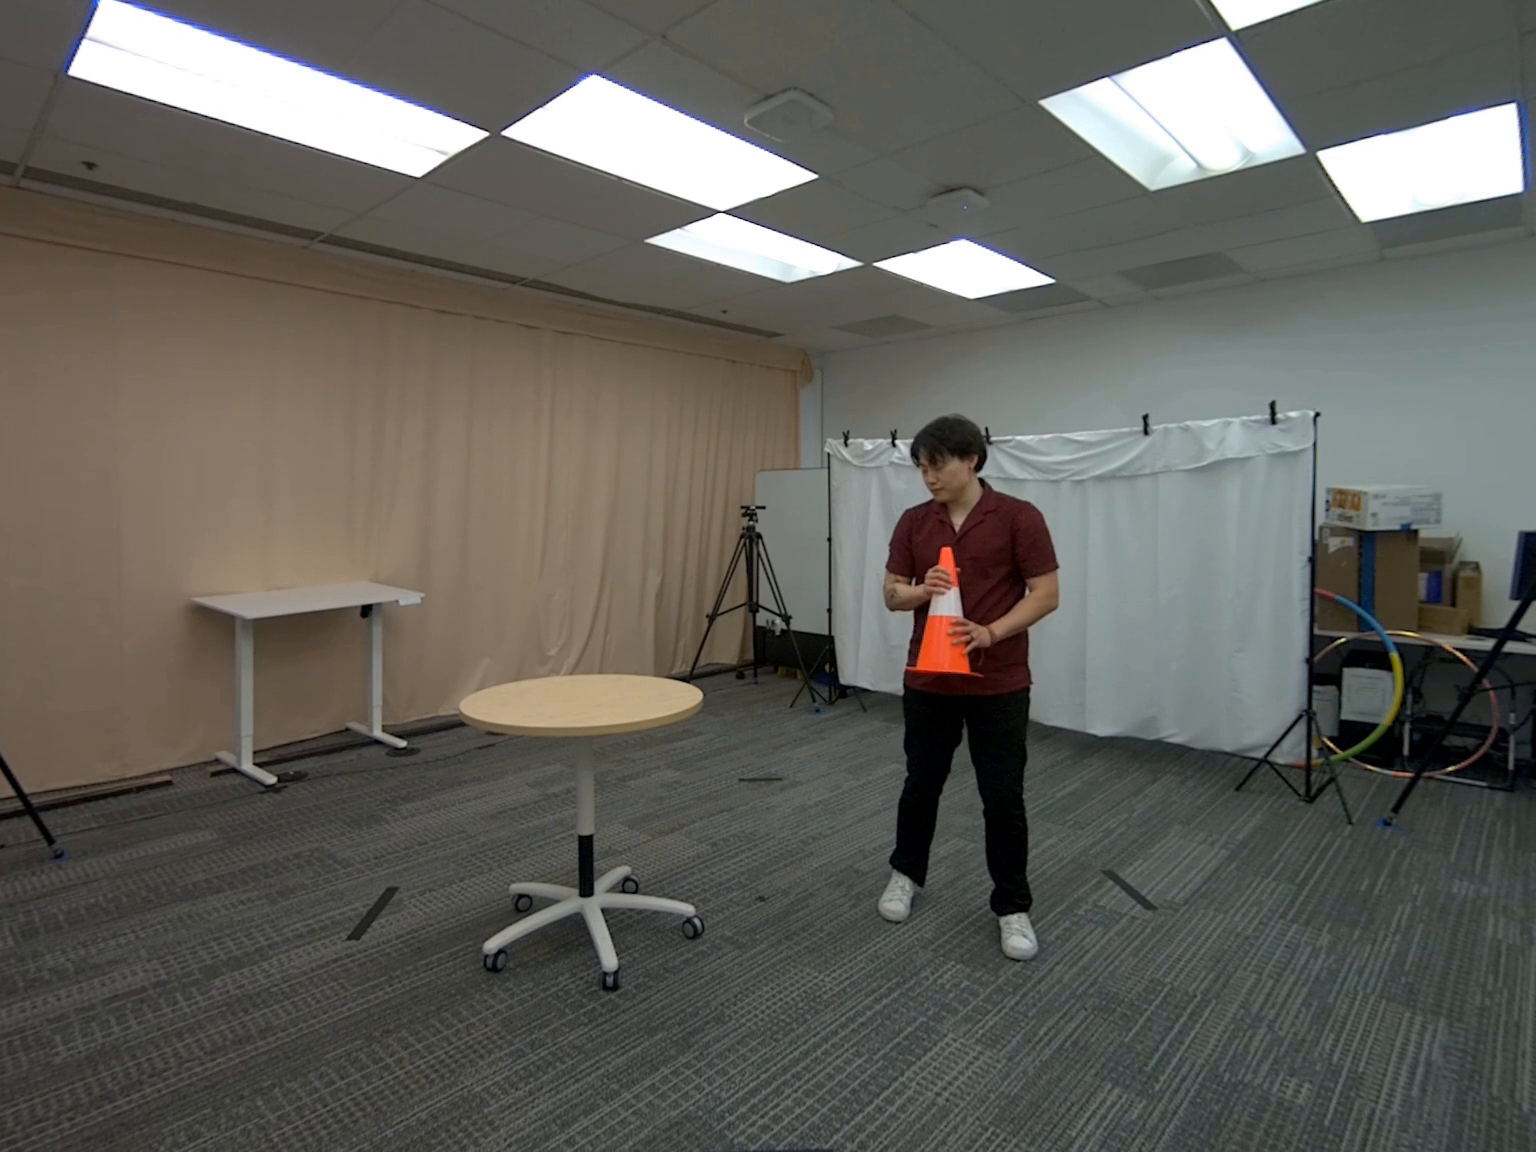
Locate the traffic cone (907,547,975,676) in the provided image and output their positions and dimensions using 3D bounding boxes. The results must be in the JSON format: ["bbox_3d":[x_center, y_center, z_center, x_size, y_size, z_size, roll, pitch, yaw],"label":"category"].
[{"bbox_3d":[0.555,0.108,2.586,0.210,0.385,0.197,-1,-8,26],"label":"traffic cone"}]
